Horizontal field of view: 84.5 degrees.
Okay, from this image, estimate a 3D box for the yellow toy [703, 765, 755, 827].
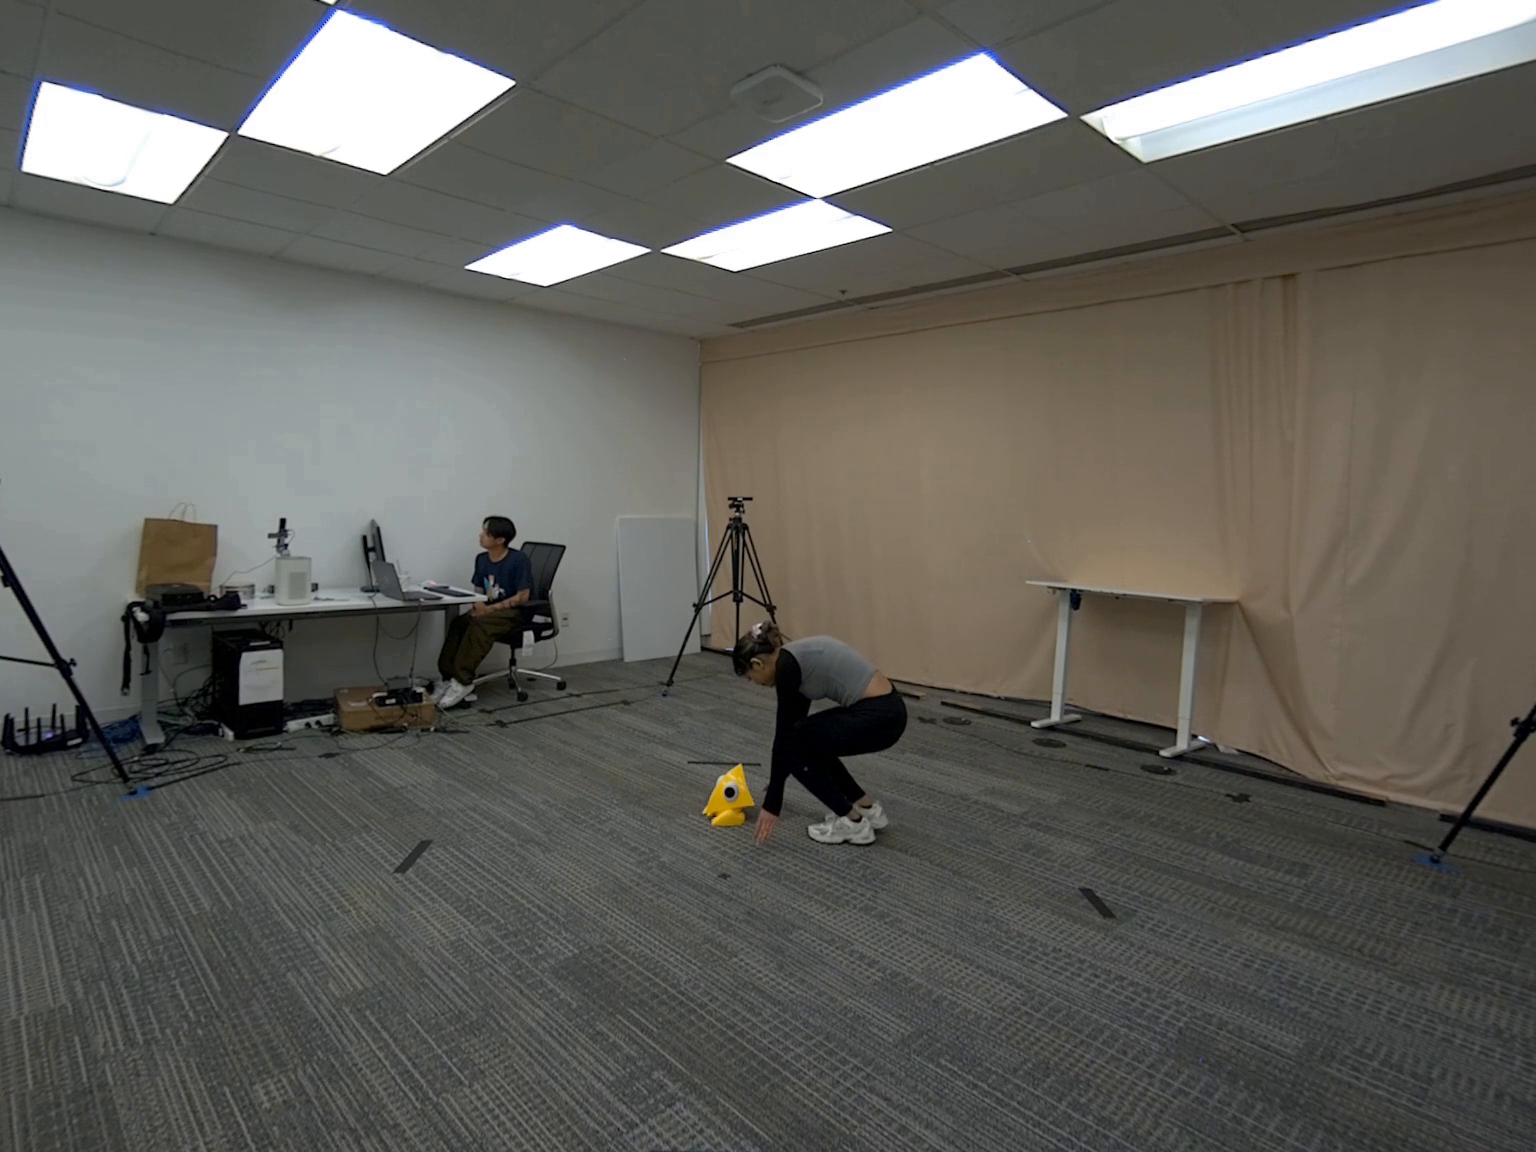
[{"bbox_3d":[-0.179,0.939,3.690,0.190,0.230,0.208,0,5,-17],"label":"yellow toy"}]
